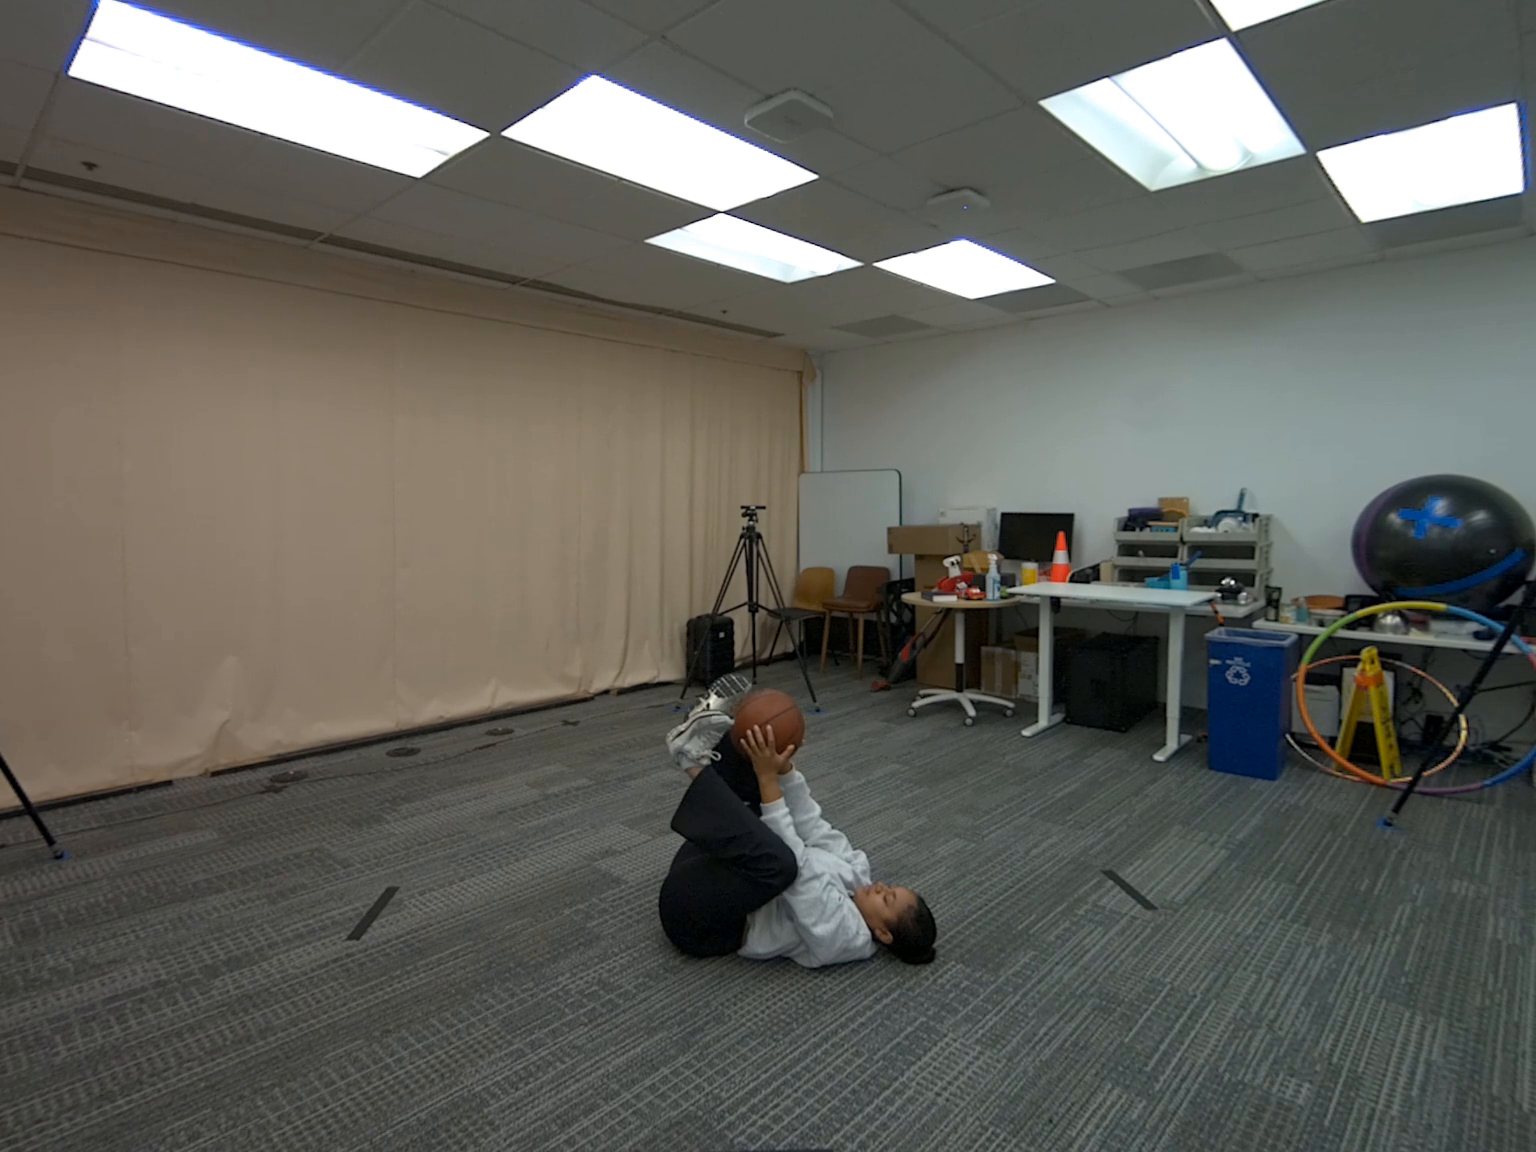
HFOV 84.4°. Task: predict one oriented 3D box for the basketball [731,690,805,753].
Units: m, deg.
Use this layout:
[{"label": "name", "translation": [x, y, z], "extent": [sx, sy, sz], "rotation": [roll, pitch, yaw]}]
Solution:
[{"label": "basketball", "translation": [0.008, 0.483, 2.673], "extent": [0.236, 0.236, 0.236], "rotation": [2, 0, -2]}]
